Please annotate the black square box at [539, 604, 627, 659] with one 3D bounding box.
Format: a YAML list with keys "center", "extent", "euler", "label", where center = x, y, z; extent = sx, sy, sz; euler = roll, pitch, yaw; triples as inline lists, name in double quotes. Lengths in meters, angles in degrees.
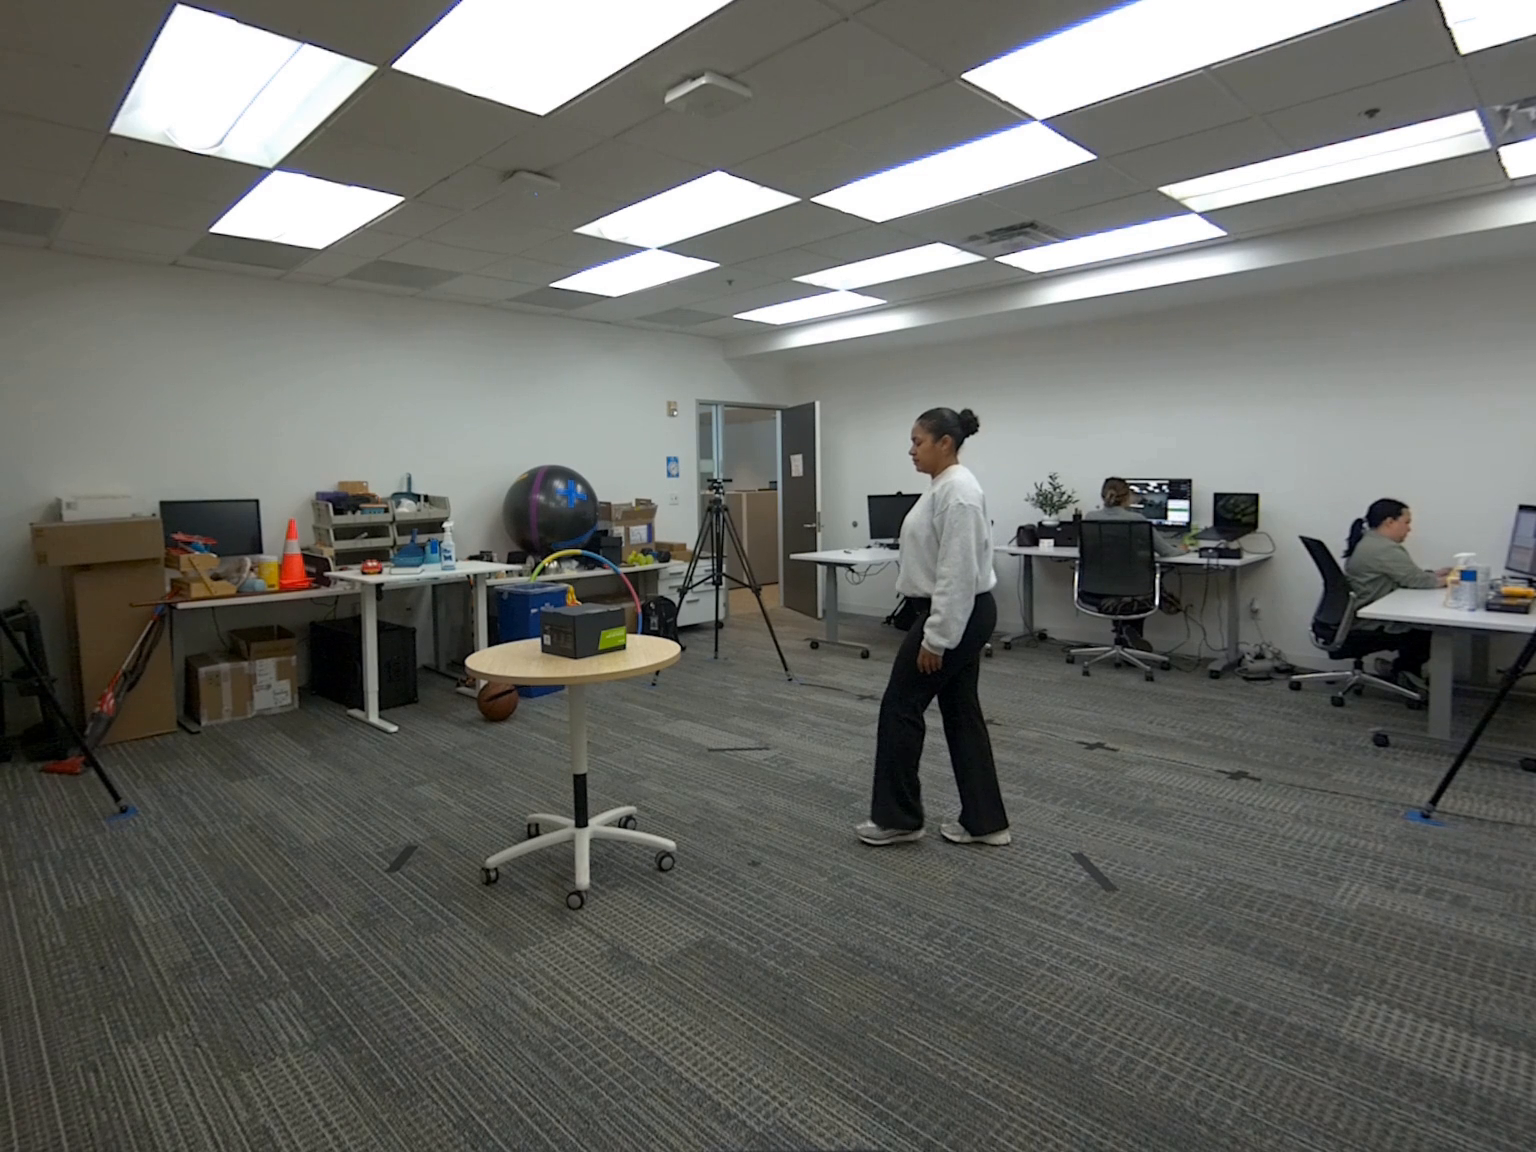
- center: [-0.677, 0.195, 3.110]
  extent: [0.224, 0.155, 0.222]
  euler: [5, 8, 43]
  label: "black square box"
